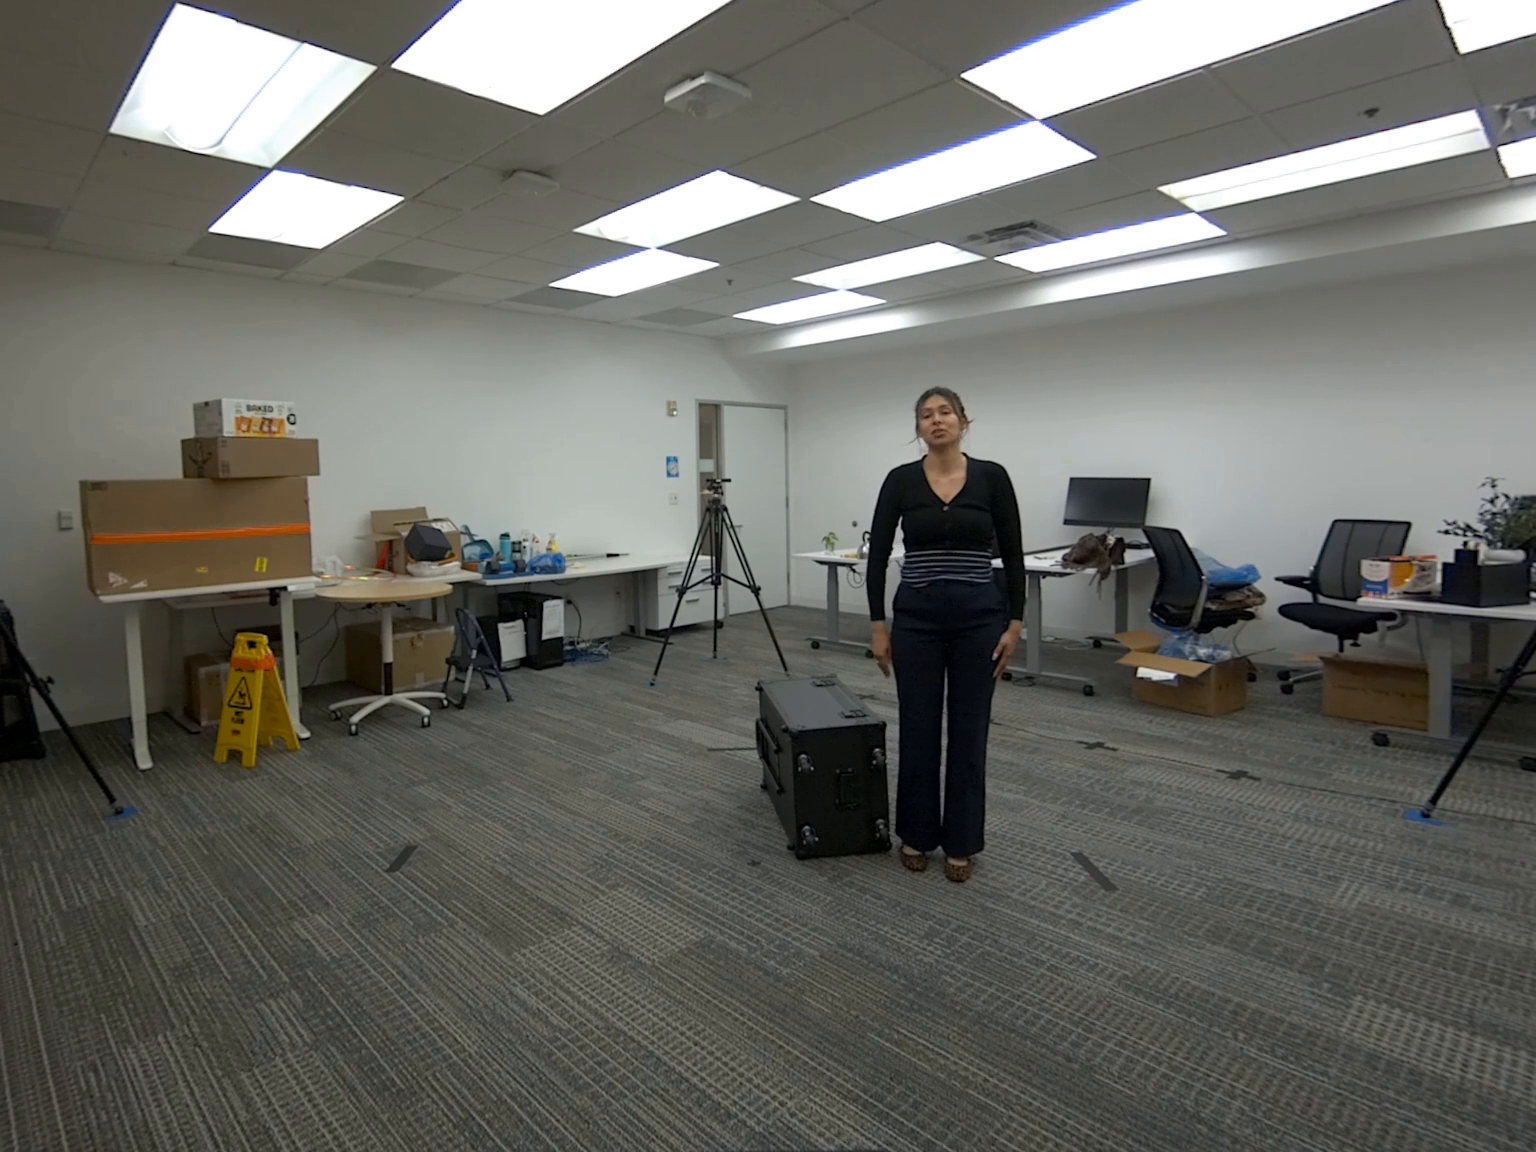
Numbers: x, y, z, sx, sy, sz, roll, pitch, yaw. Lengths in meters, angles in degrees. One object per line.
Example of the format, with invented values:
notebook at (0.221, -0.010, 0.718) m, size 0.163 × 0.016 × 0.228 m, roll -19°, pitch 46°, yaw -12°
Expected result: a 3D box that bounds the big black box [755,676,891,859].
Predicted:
big black box at (0.193, 0.740, 3.480) m, size 0.393 × 0.519 × 0.872 m, roll -4°, pitch 6°, yaw -9°
